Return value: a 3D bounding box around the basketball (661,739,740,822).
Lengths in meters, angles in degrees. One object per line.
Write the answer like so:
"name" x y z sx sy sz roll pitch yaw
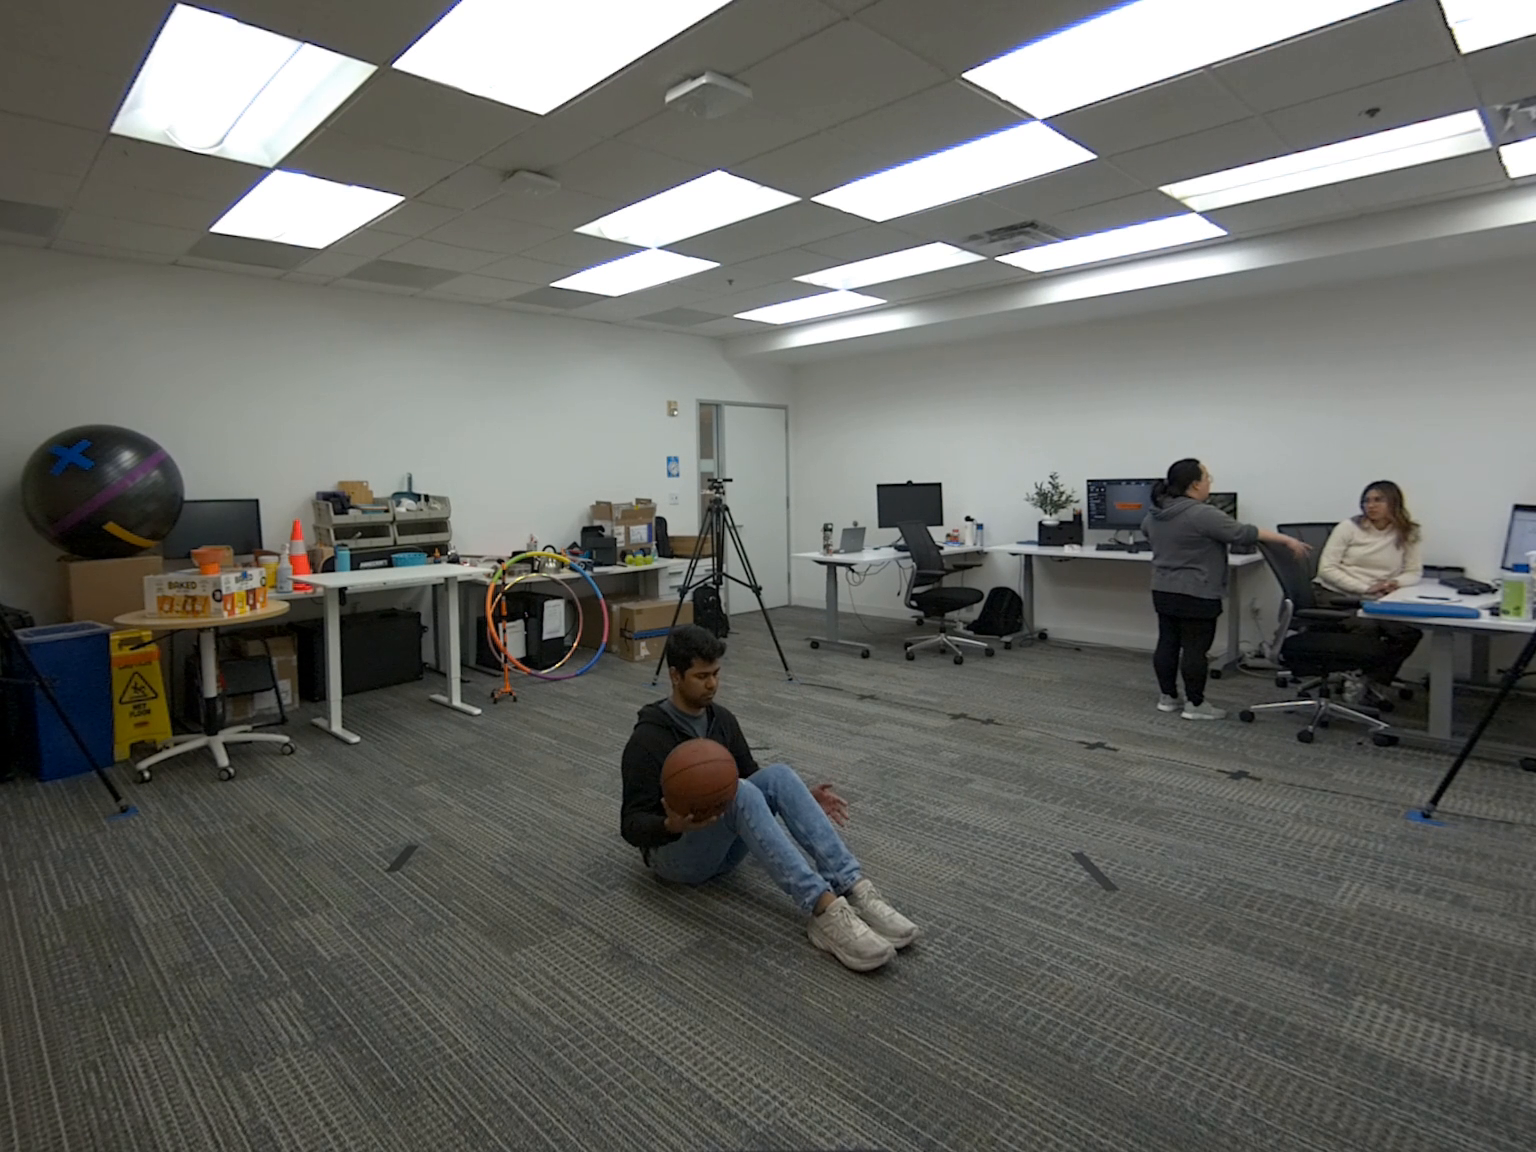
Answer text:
"basketball" -0.198 0.623 2.622 0.236 0.235 0.237 -1 5 -2
